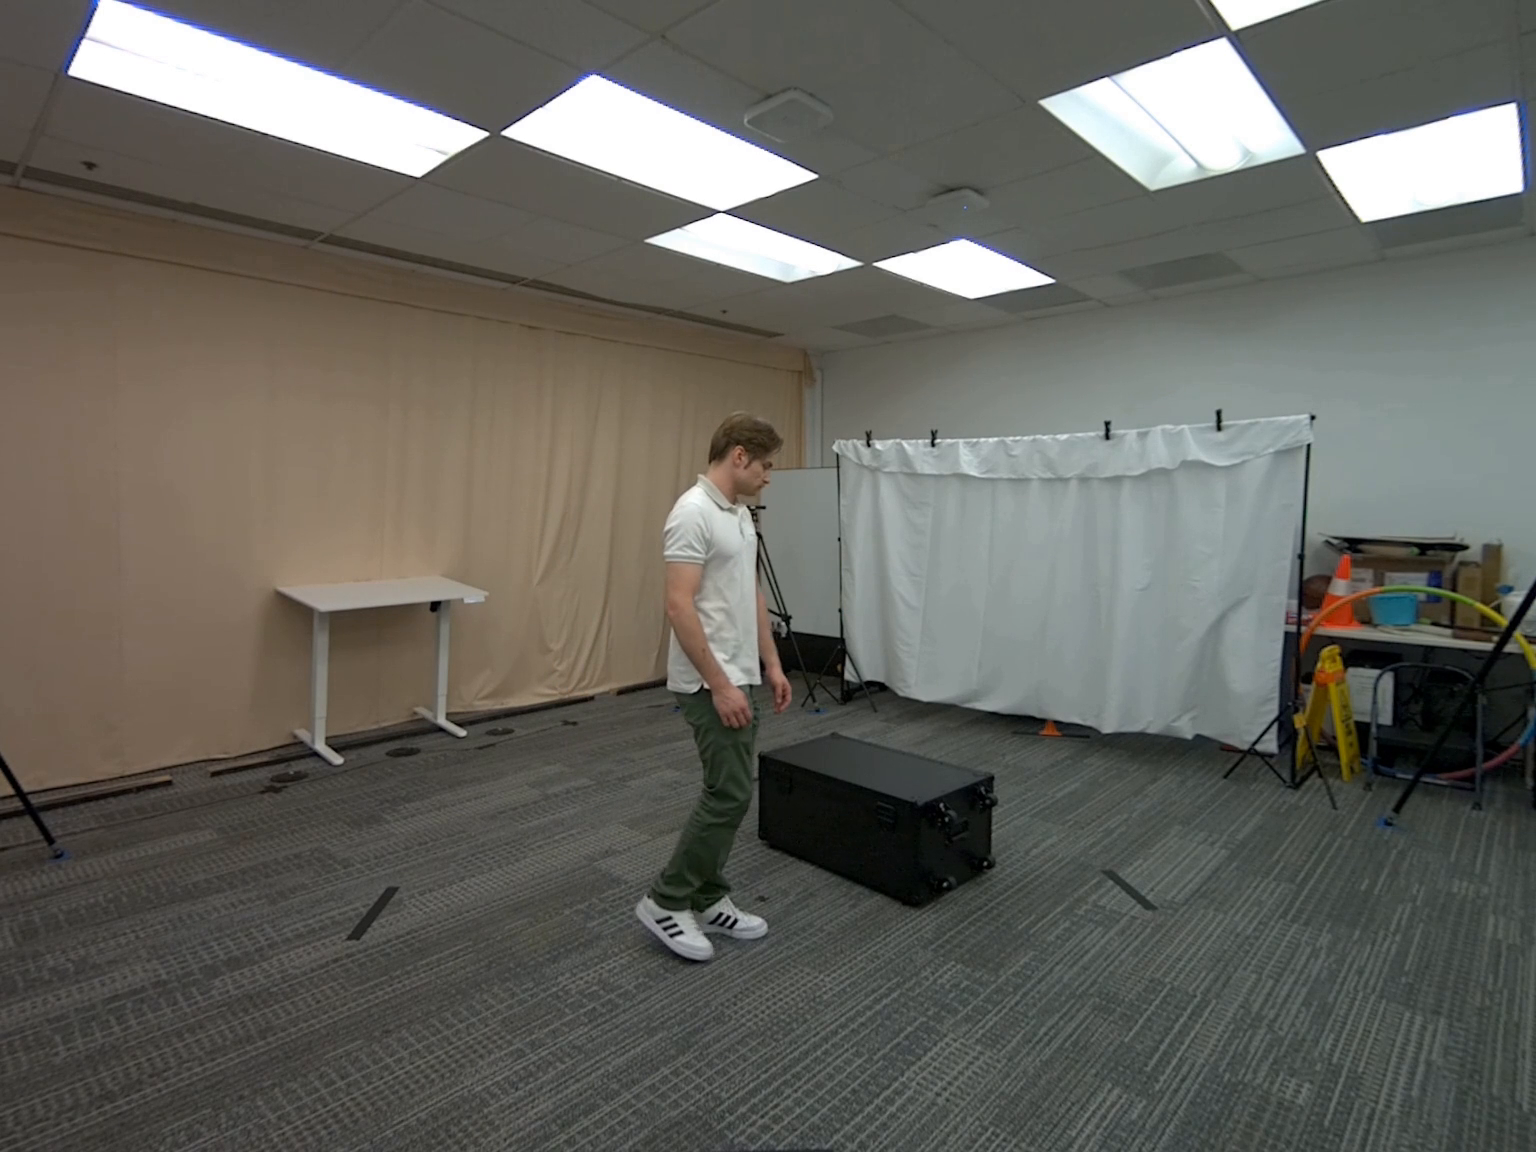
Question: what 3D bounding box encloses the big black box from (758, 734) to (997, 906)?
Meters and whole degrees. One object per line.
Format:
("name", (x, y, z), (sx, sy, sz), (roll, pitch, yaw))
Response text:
("big black box", (0.430, 0.924, 3.293), (0.505, 0.395, 0.890), (-4, 5, -44))
